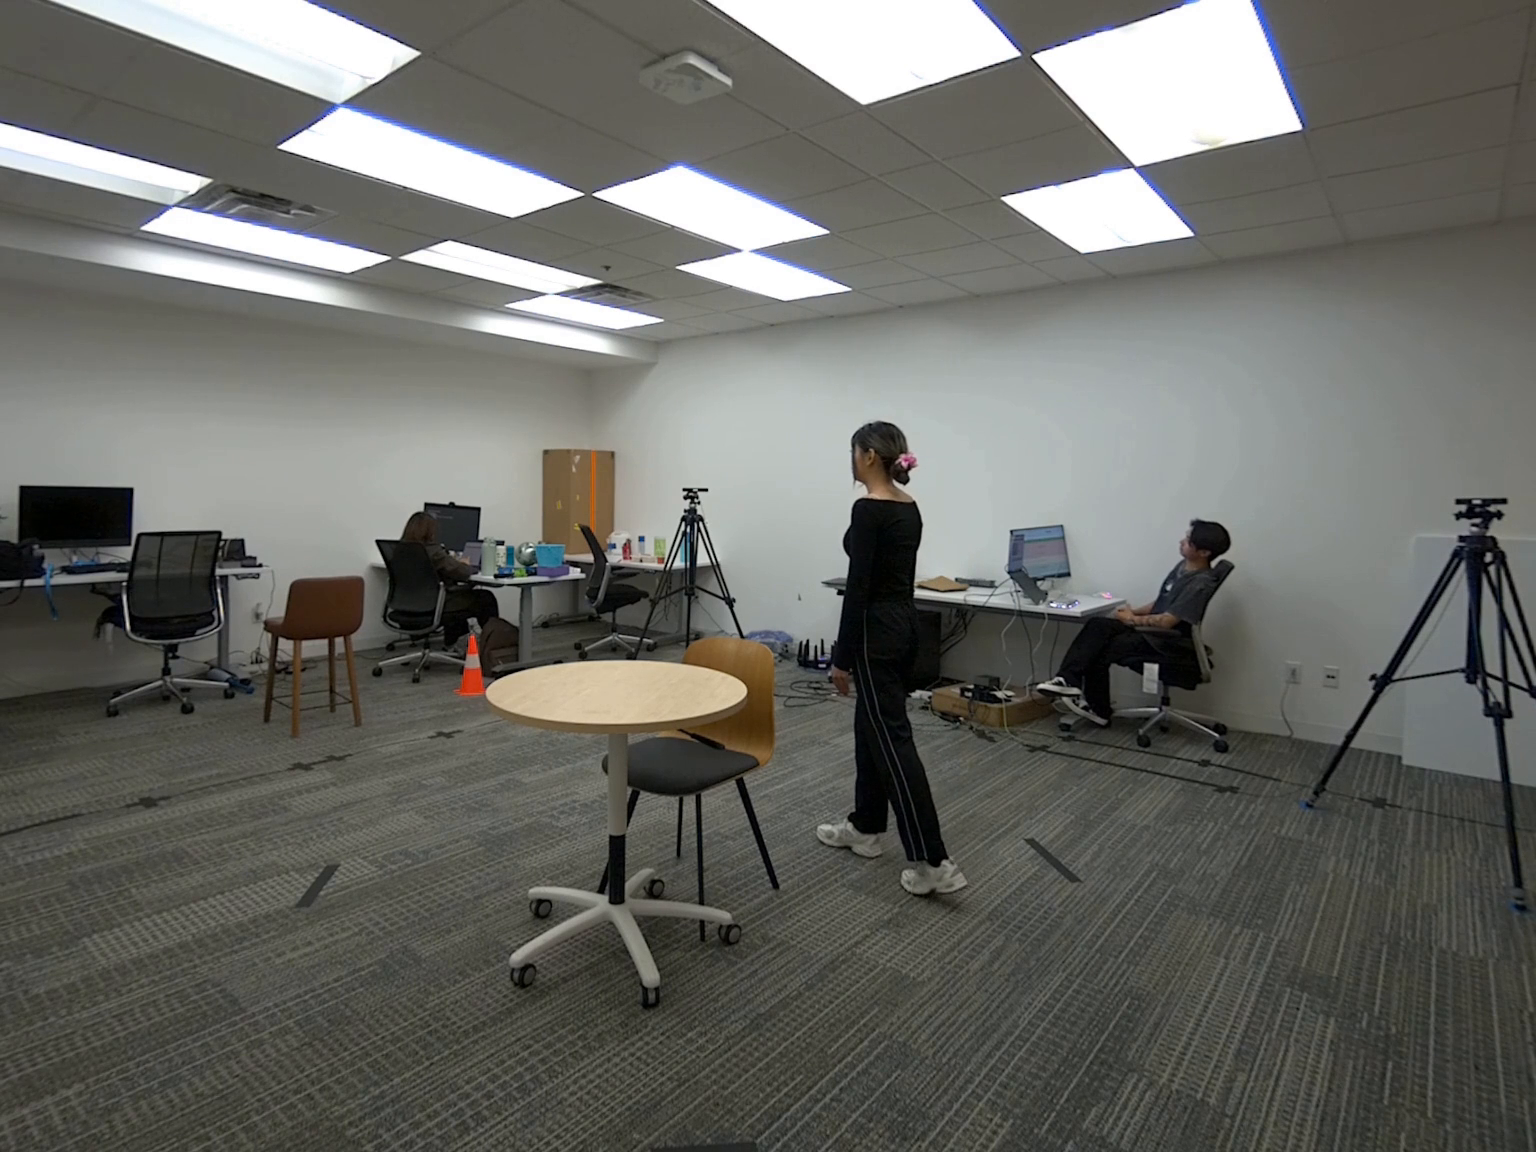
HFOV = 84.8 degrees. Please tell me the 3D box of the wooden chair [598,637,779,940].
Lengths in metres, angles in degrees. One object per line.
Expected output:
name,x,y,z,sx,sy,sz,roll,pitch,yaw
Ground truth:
wooden chair,-0.268,0.660,2.880,0.493,0.878,0.506,4,0,34
